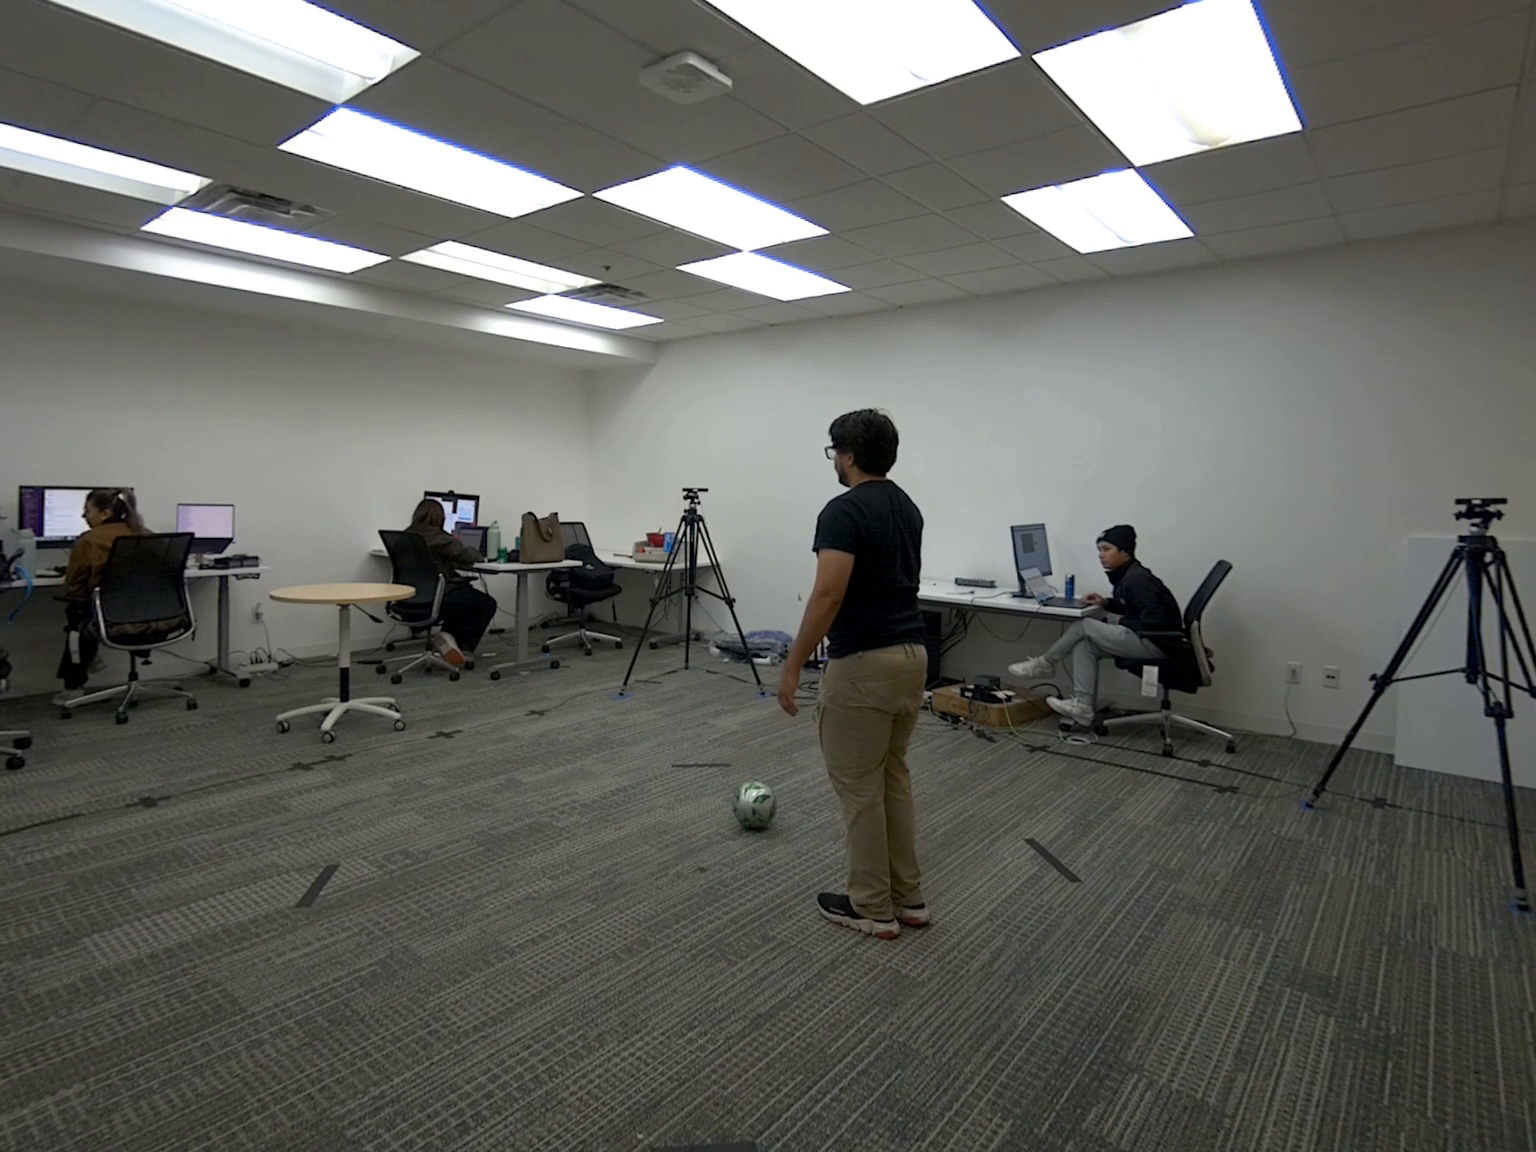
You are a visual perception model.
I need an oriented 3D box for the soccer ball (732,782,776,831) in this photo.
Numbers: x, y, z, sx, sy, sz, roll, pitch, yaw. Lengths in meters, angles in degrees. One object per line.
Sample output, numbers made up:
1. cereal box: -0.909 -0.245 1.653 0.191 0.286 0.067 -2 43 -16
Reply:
1. soccer ball: -0.067 0.942 3.511 0.187 0.187 0.188 1 4 -2
